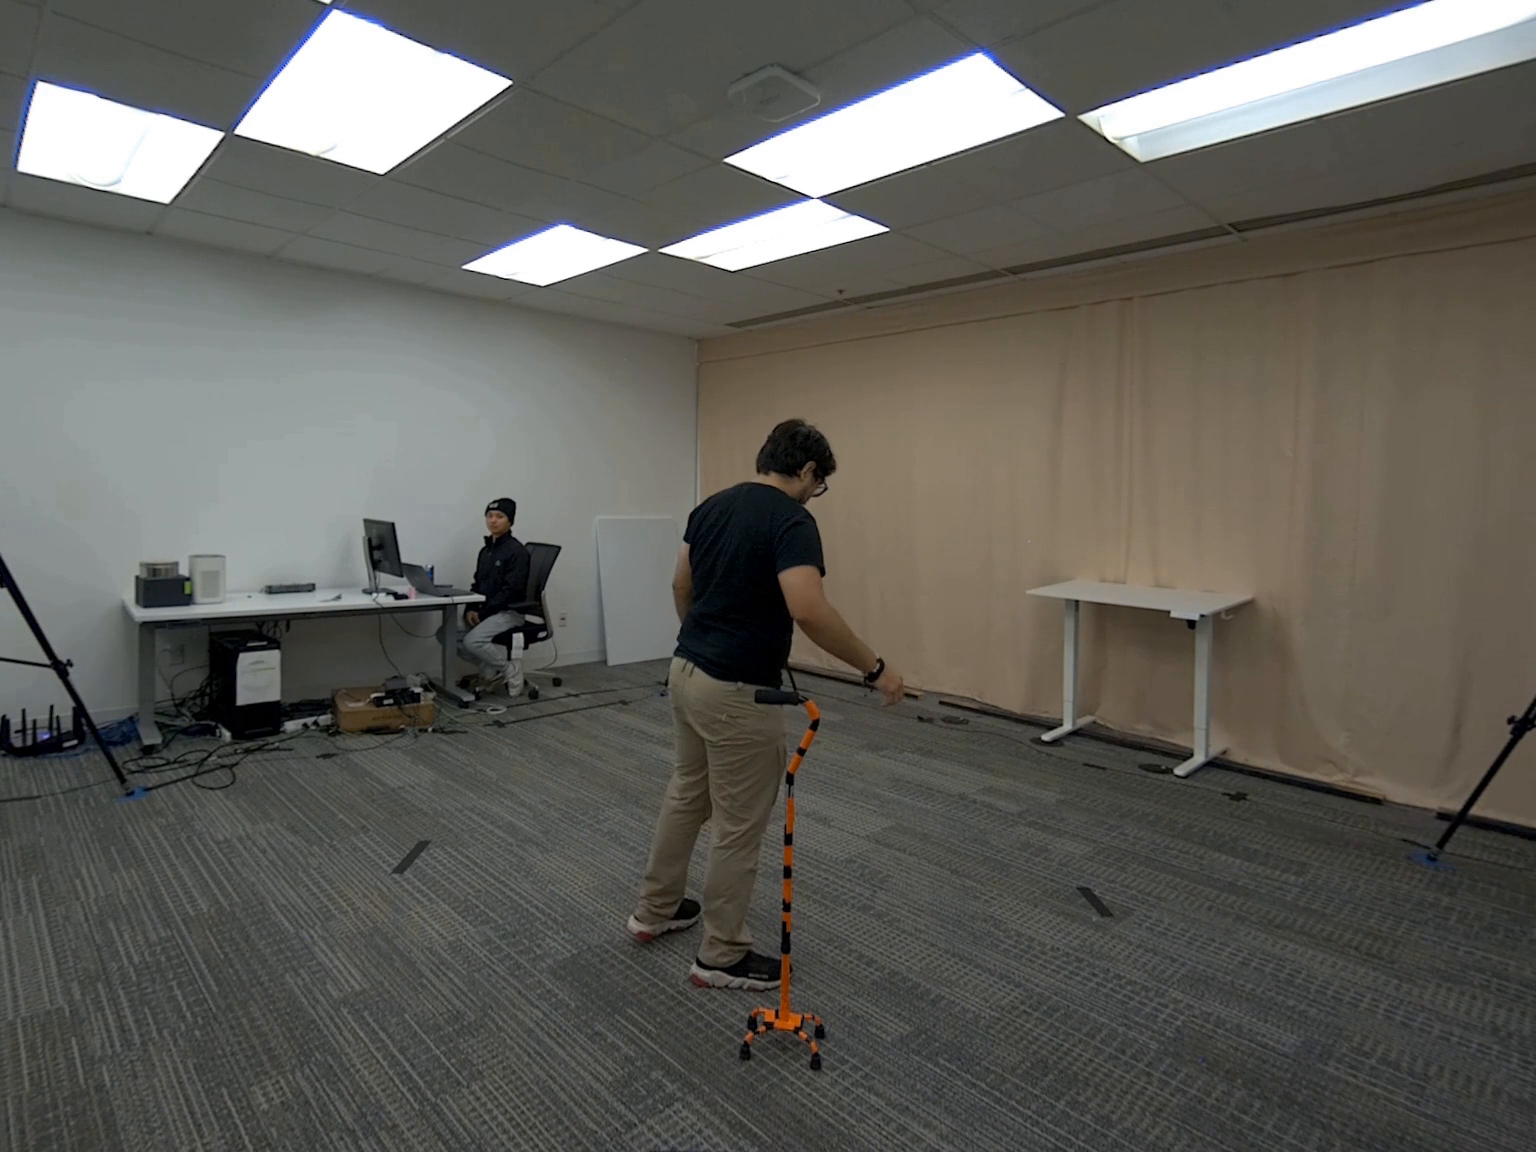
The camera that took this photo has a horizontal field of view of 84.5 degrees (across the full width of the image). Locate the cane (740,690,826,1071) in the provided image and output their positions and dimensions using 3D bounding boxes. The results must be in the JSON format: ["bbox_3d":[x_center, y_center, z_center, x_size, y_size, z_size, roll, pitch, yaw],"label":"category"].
[{"bbox_3d":[0.048,0.754,2.111,0.208,0.905,0.151,2,4,6],"label":"cane"}]
